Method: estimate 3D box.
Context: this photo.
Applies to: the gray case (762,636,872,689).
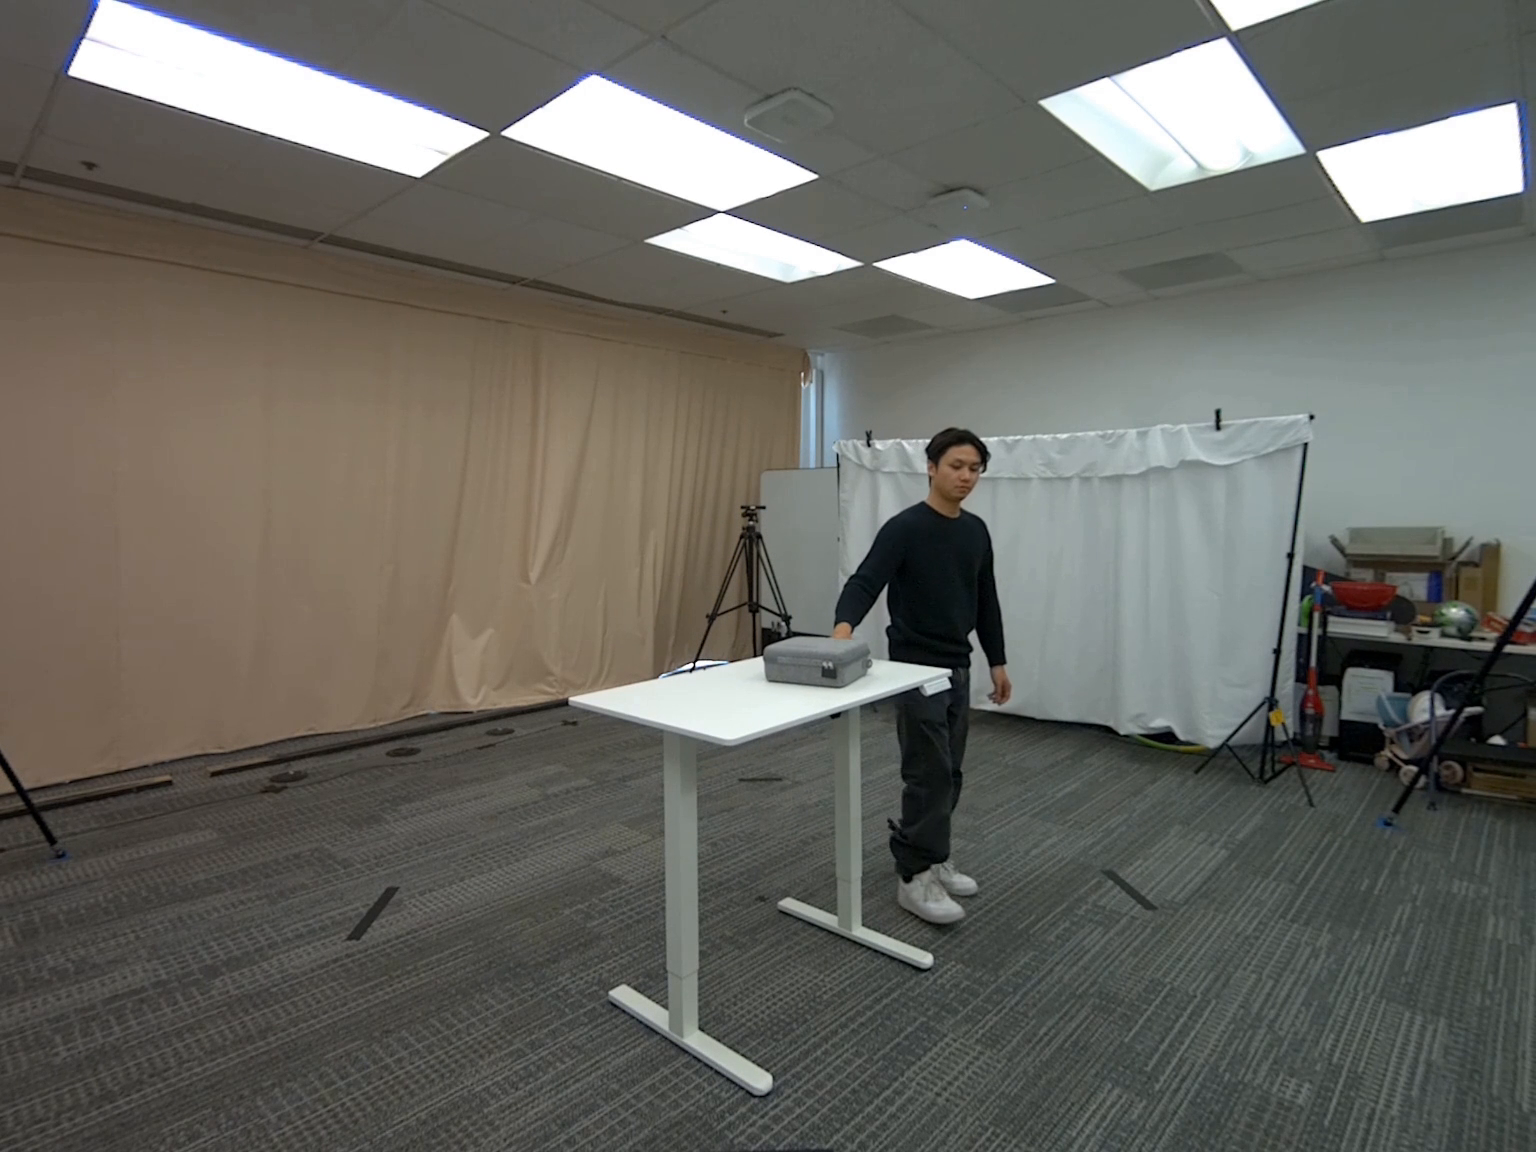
[{"bbox_3d":[0.145,0.245,2.490,0.264,0.104,0.254,1,5,27],"label":"gray case"}]
